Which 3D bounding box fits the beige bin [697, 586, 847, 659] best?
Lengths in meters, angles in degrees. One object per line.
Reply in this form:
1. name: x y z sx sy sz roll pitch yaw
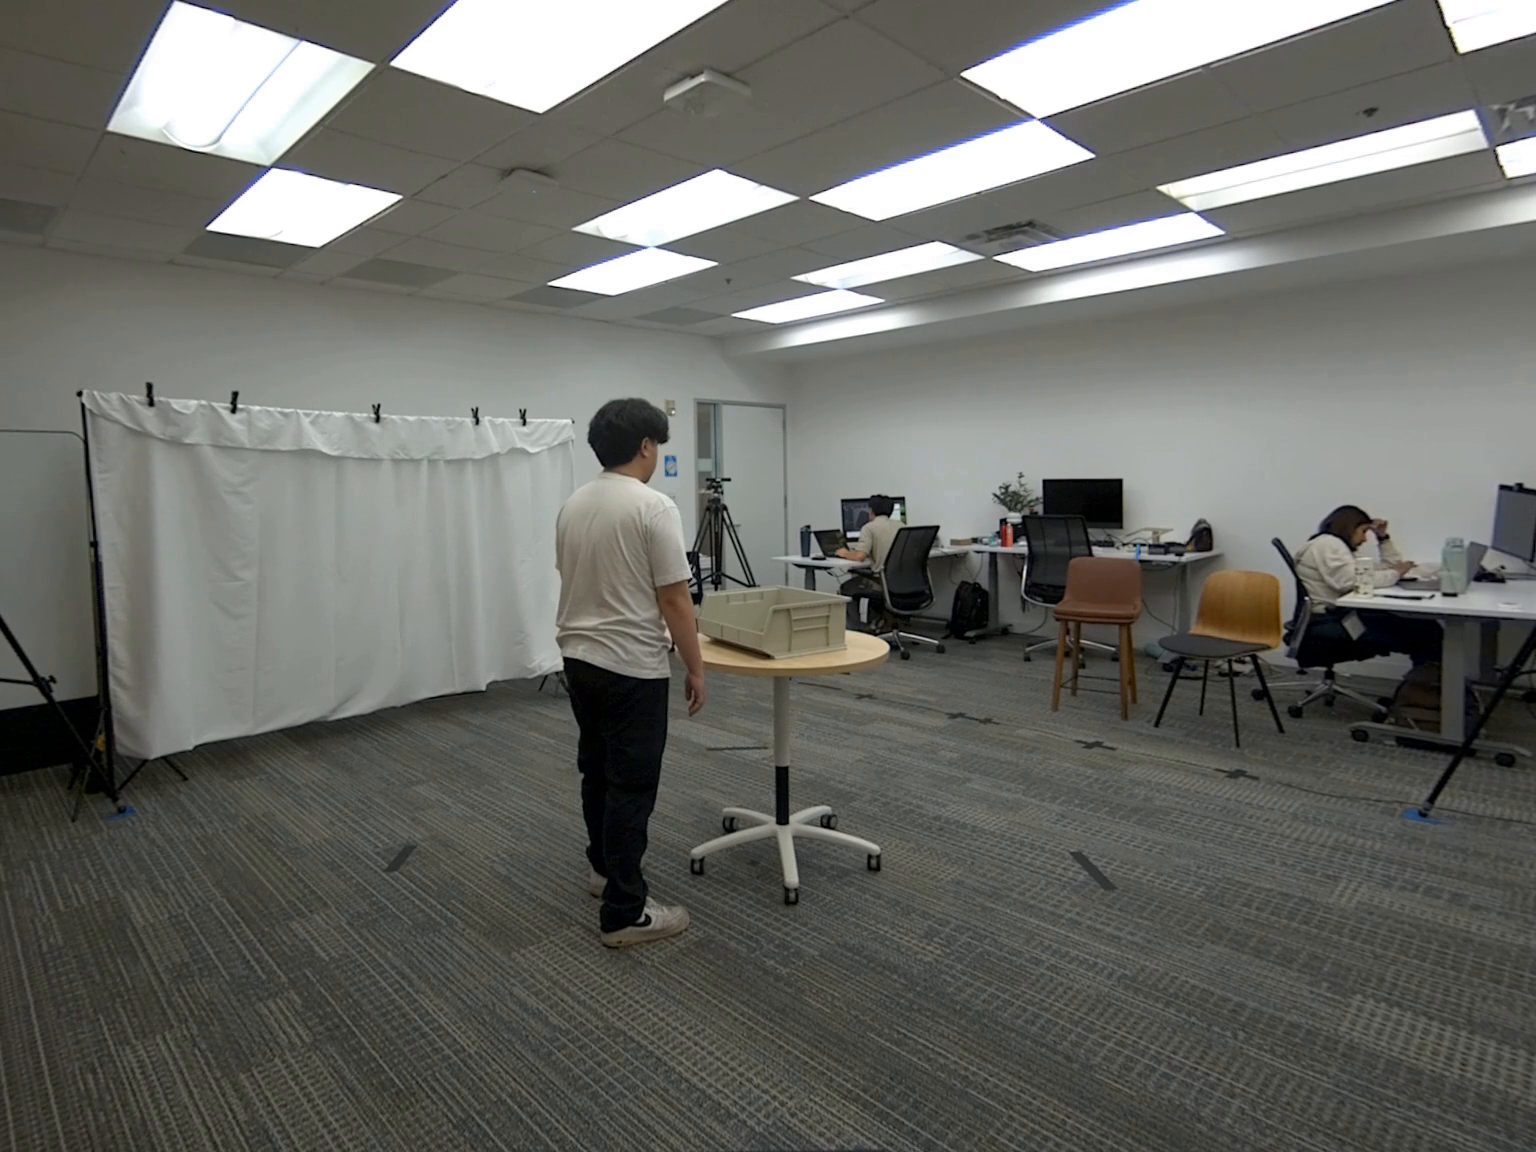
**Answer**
1. beige bin: 0.020 0.159 3.050 0.368 0.188 0.435 -3 6 -35
